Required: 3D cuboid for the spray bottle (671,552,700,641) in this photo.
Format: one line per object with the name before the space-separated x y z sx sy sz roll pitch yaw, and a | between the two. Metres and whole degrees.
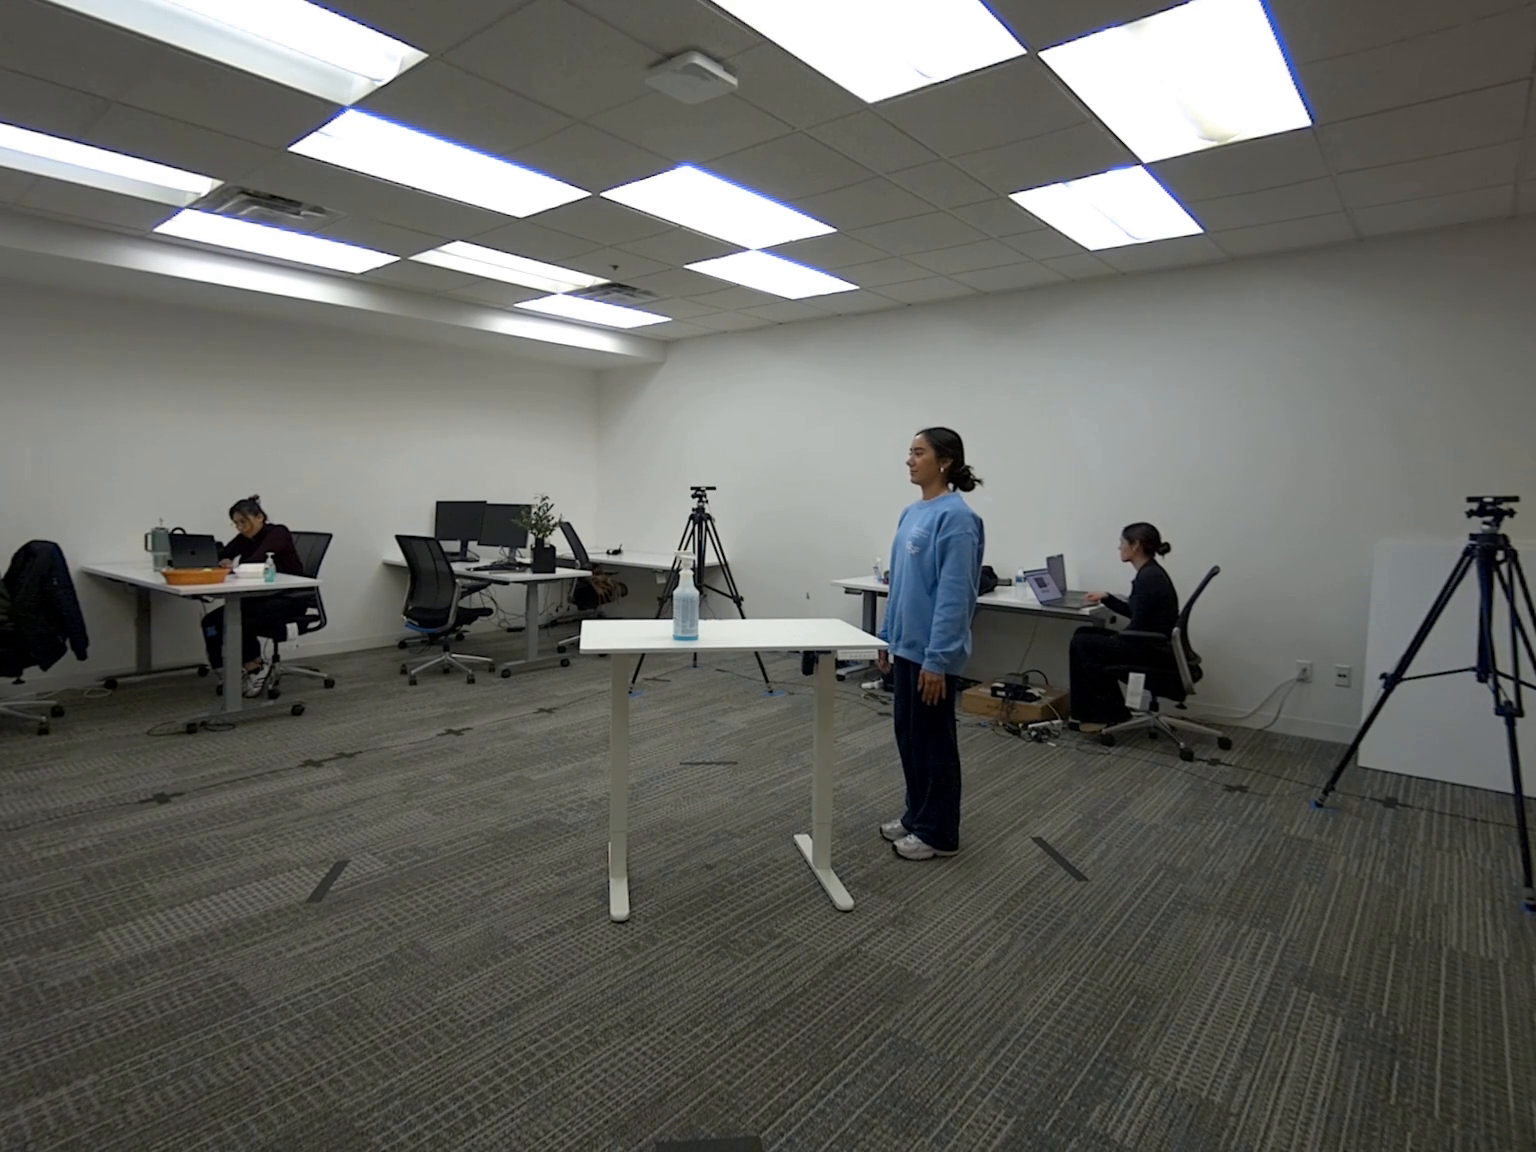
spray bottle | -0.284 0.063 2.837 0.088 0.297 0.089 -1 2 -19
